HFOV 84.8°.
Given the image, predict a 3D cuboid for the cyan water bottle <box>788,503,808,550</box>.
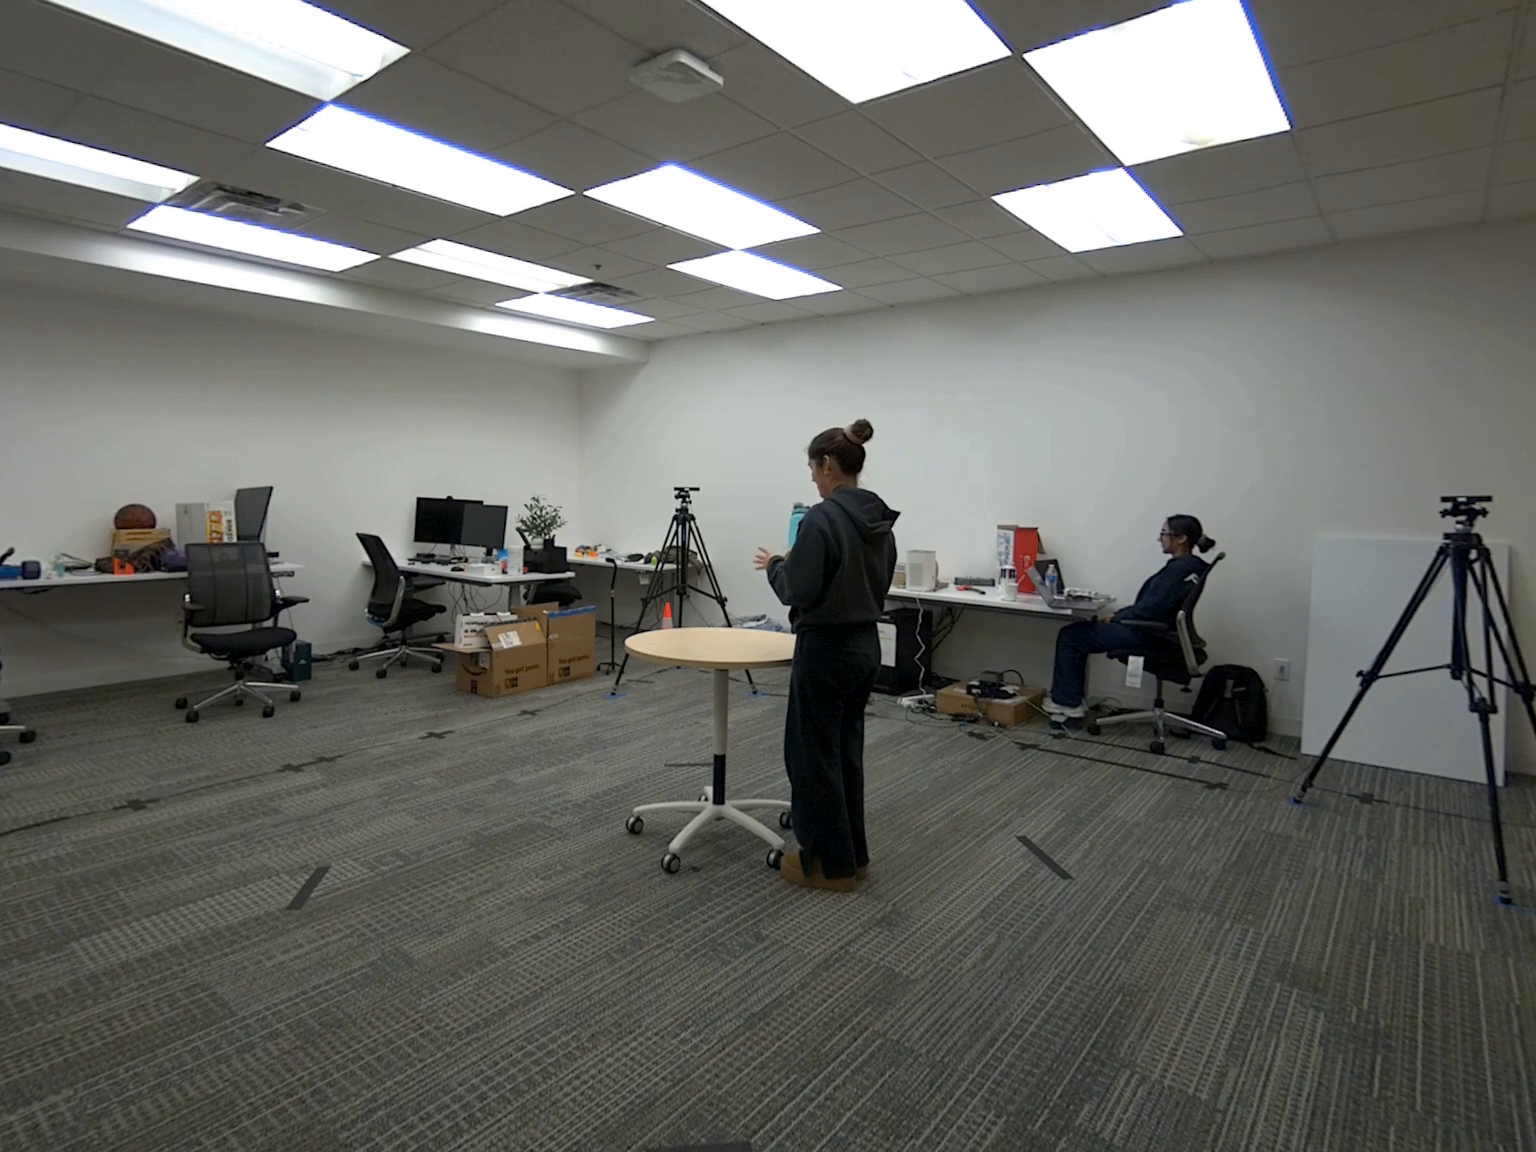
[{"bbox_3d":[0.126,-0.149,3.276,0.092,0.289,0.090,5,-25,1],"label":"cyan water bottle"}]
